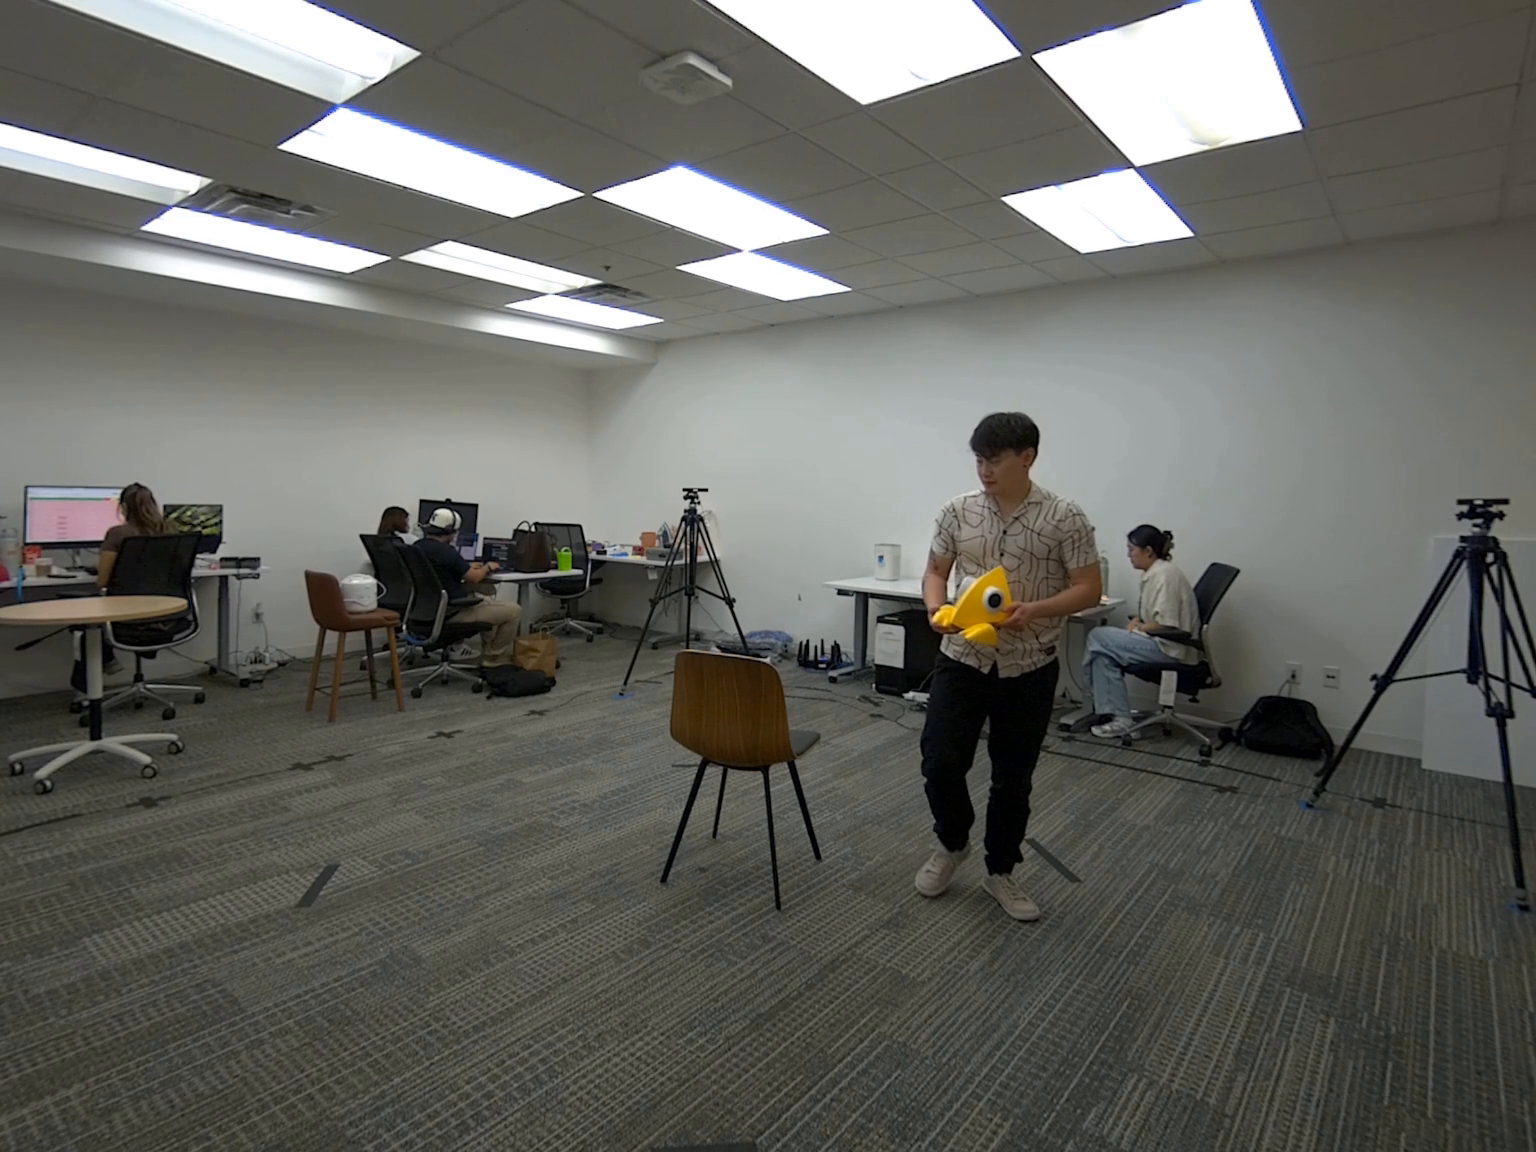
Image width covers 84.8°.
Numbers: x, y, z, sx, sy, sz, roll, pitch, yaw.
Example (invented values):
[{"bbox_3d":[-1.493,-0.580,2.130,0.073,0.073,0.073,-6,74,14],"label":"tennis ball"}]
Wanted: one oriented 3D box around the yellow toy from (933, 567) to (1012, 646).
[{"bbox_3d":[0.659,0.067,2.692,0.186,0.229,0.213,9,14,-42],"label":"yellow toy"}]
